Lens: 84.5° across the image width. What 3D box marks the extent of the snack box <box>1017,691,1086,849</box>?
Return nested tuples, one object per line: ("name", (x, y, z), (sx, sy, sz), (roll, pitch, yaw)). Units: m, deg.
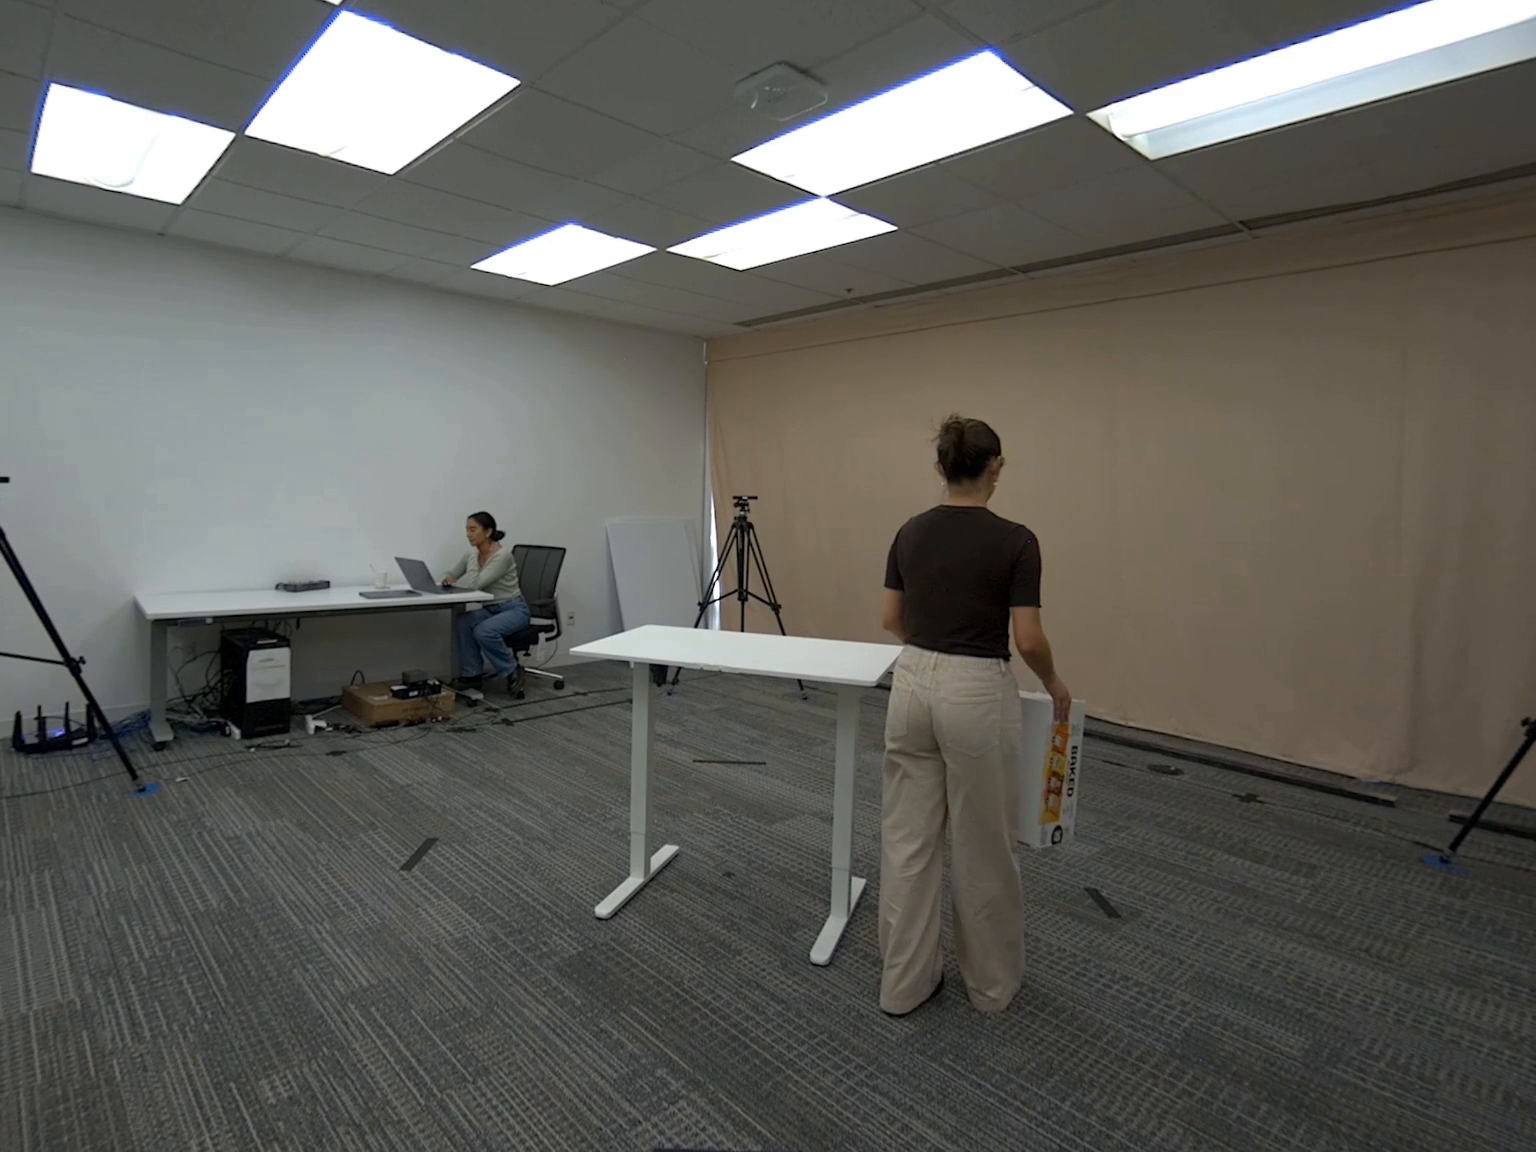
("snack box", (0.712, 0.546, 2.495), (0.200, 0.406, 0.349), (8, -2, -44))
